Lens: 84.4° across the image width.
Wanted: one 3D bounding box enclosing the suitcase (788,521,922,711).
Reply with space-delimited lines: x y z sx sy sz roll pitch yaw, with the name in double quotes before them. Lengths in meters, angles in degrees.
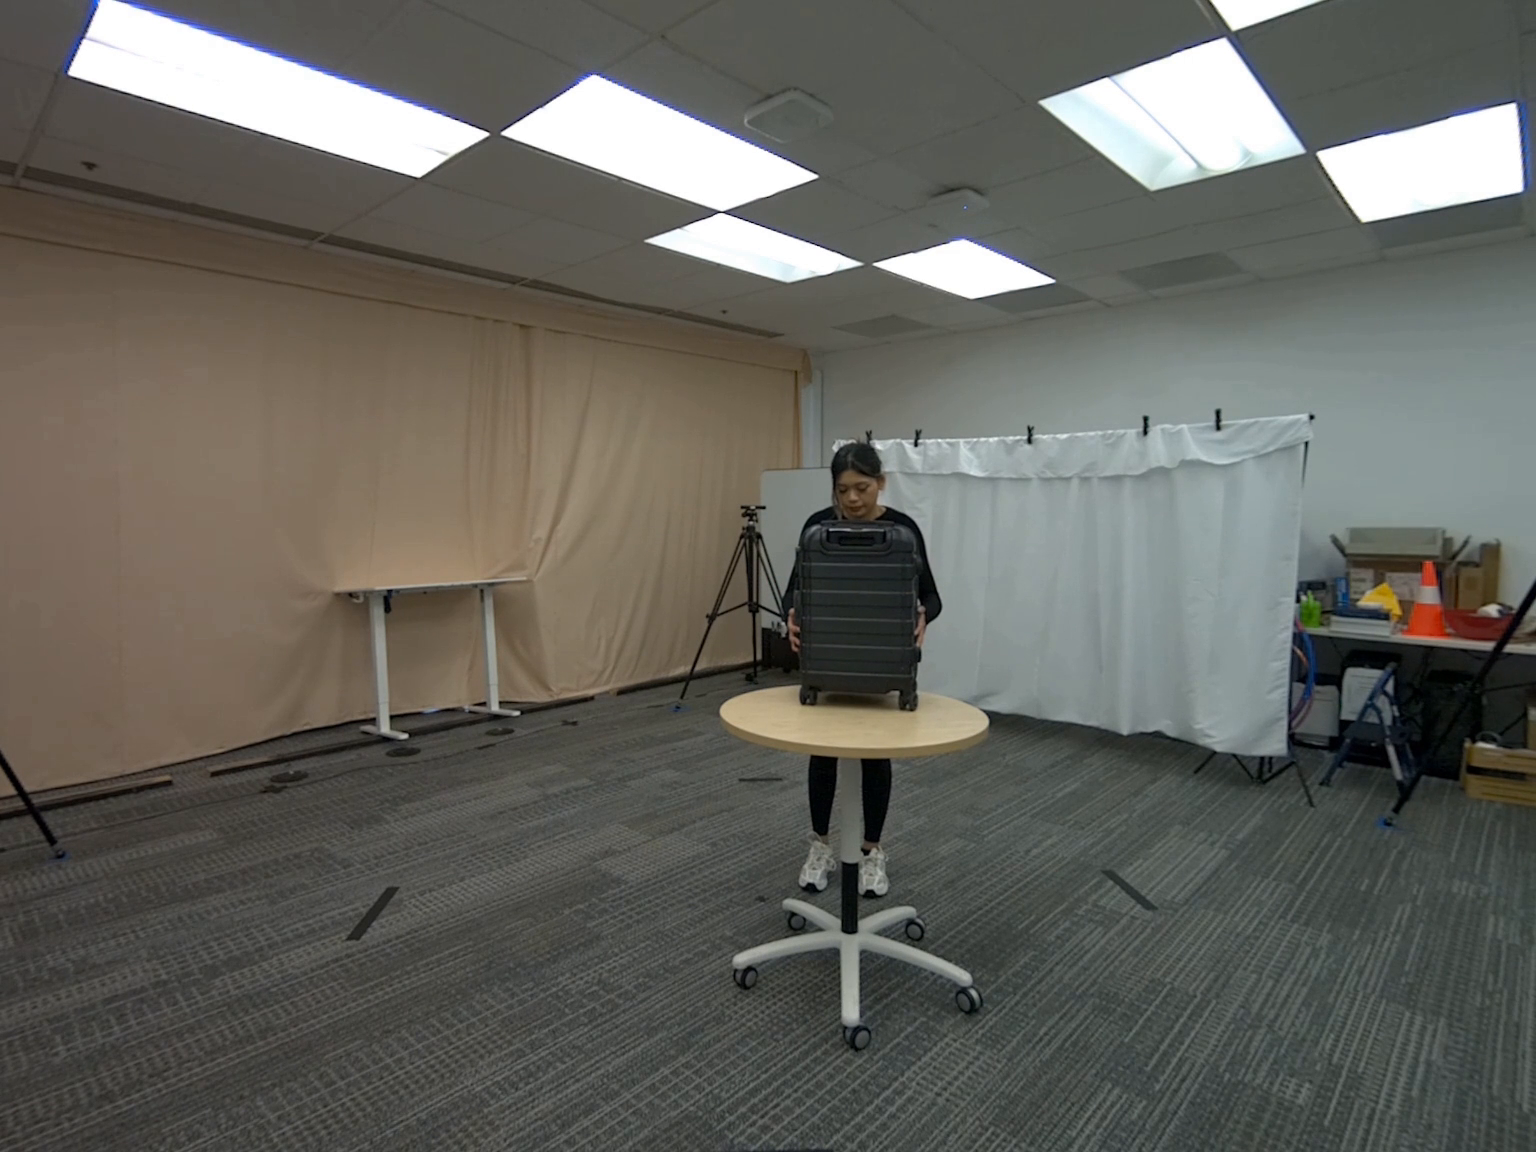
"suitcase" 0.275 0.107 2.581 0.381 0.548 0.245 1 4 12
